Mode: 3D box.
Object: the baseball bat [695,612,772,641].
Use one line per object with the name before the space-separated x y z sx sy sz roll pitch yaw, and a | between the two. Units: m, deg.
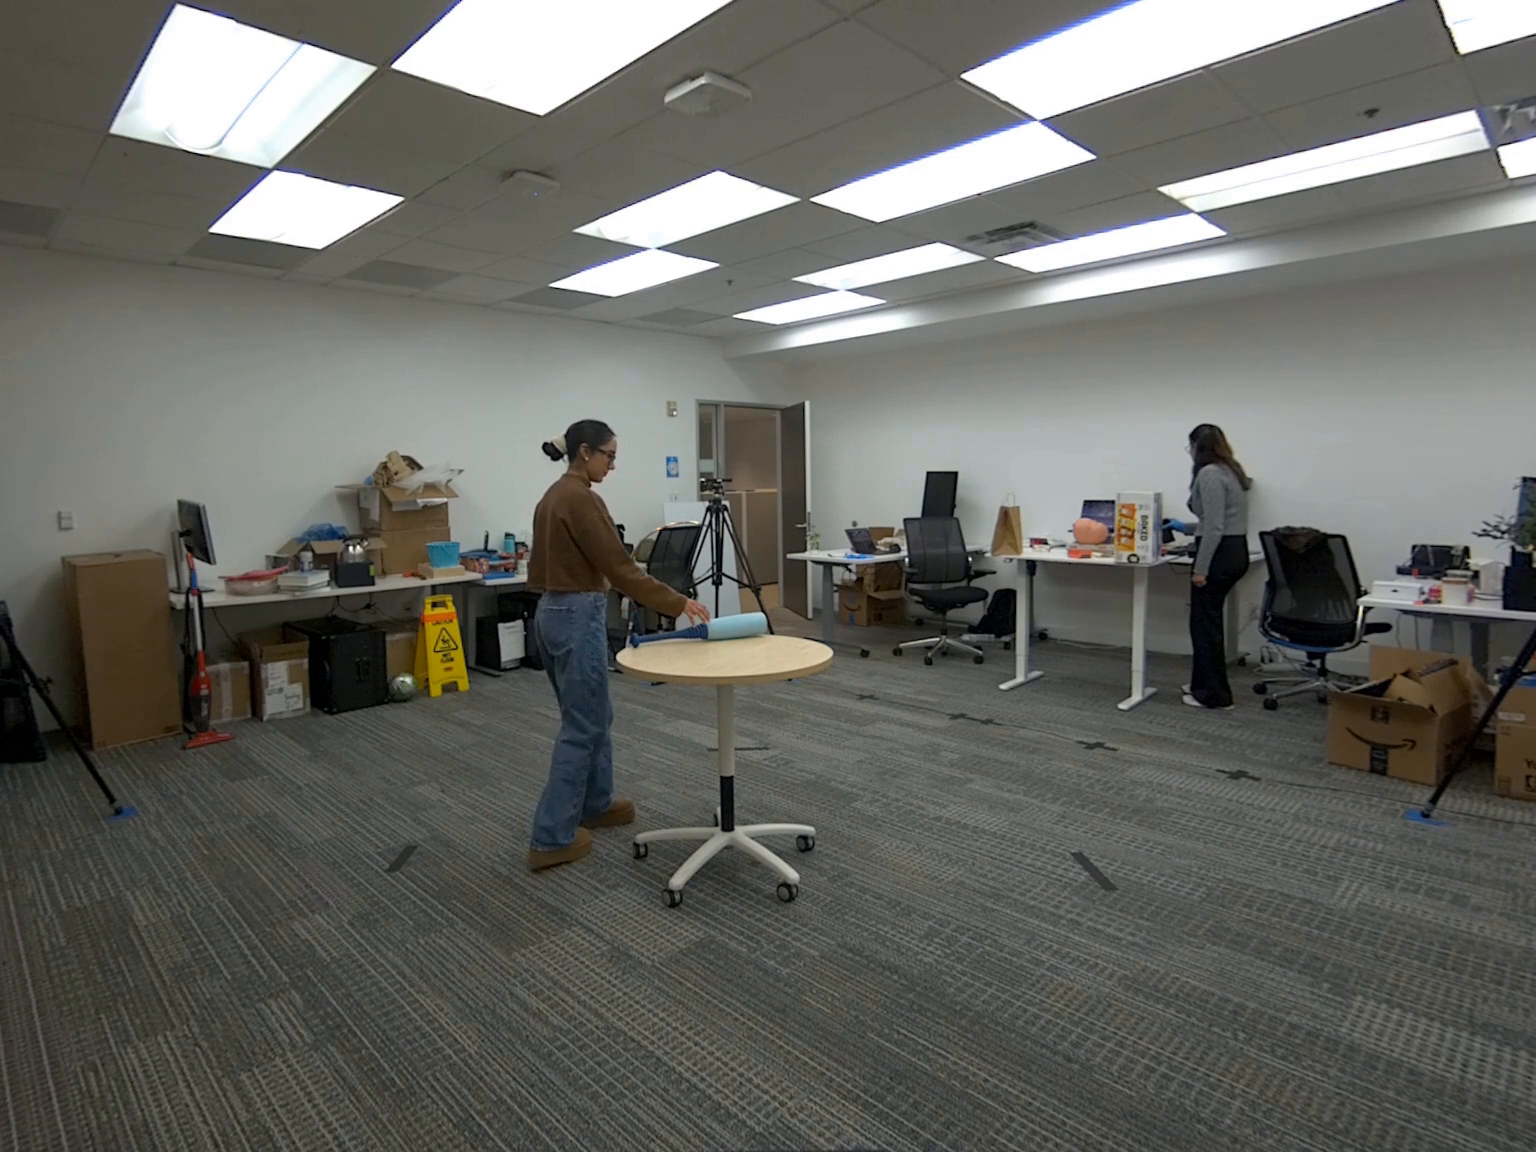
baseball bat | -0.266 0.216 3.263 0.534 0.088 0.091 -7 7 -20
